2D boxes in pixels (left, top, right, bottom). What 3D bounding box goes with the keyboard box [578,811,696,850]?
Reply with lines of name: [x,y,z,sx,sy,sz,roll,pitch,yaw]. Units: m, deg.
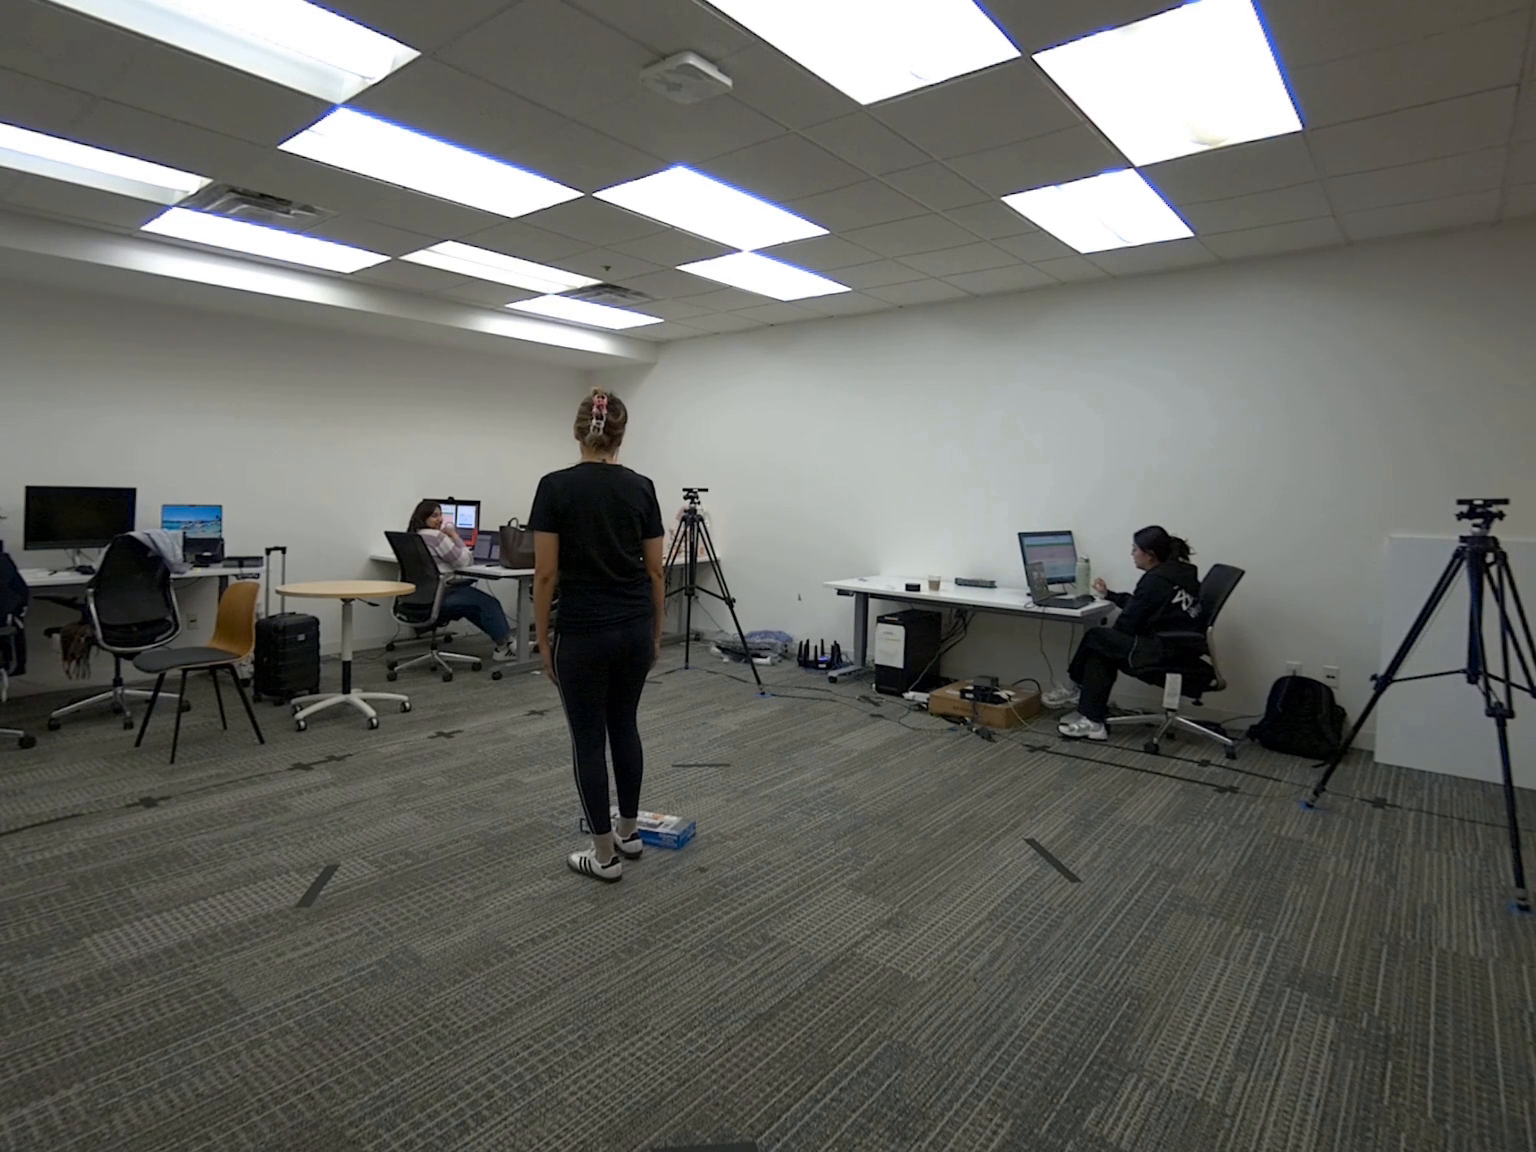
keyboard box: [-0.527,1.005,3.430,0.446,0.059,0.173,3,5,21]
